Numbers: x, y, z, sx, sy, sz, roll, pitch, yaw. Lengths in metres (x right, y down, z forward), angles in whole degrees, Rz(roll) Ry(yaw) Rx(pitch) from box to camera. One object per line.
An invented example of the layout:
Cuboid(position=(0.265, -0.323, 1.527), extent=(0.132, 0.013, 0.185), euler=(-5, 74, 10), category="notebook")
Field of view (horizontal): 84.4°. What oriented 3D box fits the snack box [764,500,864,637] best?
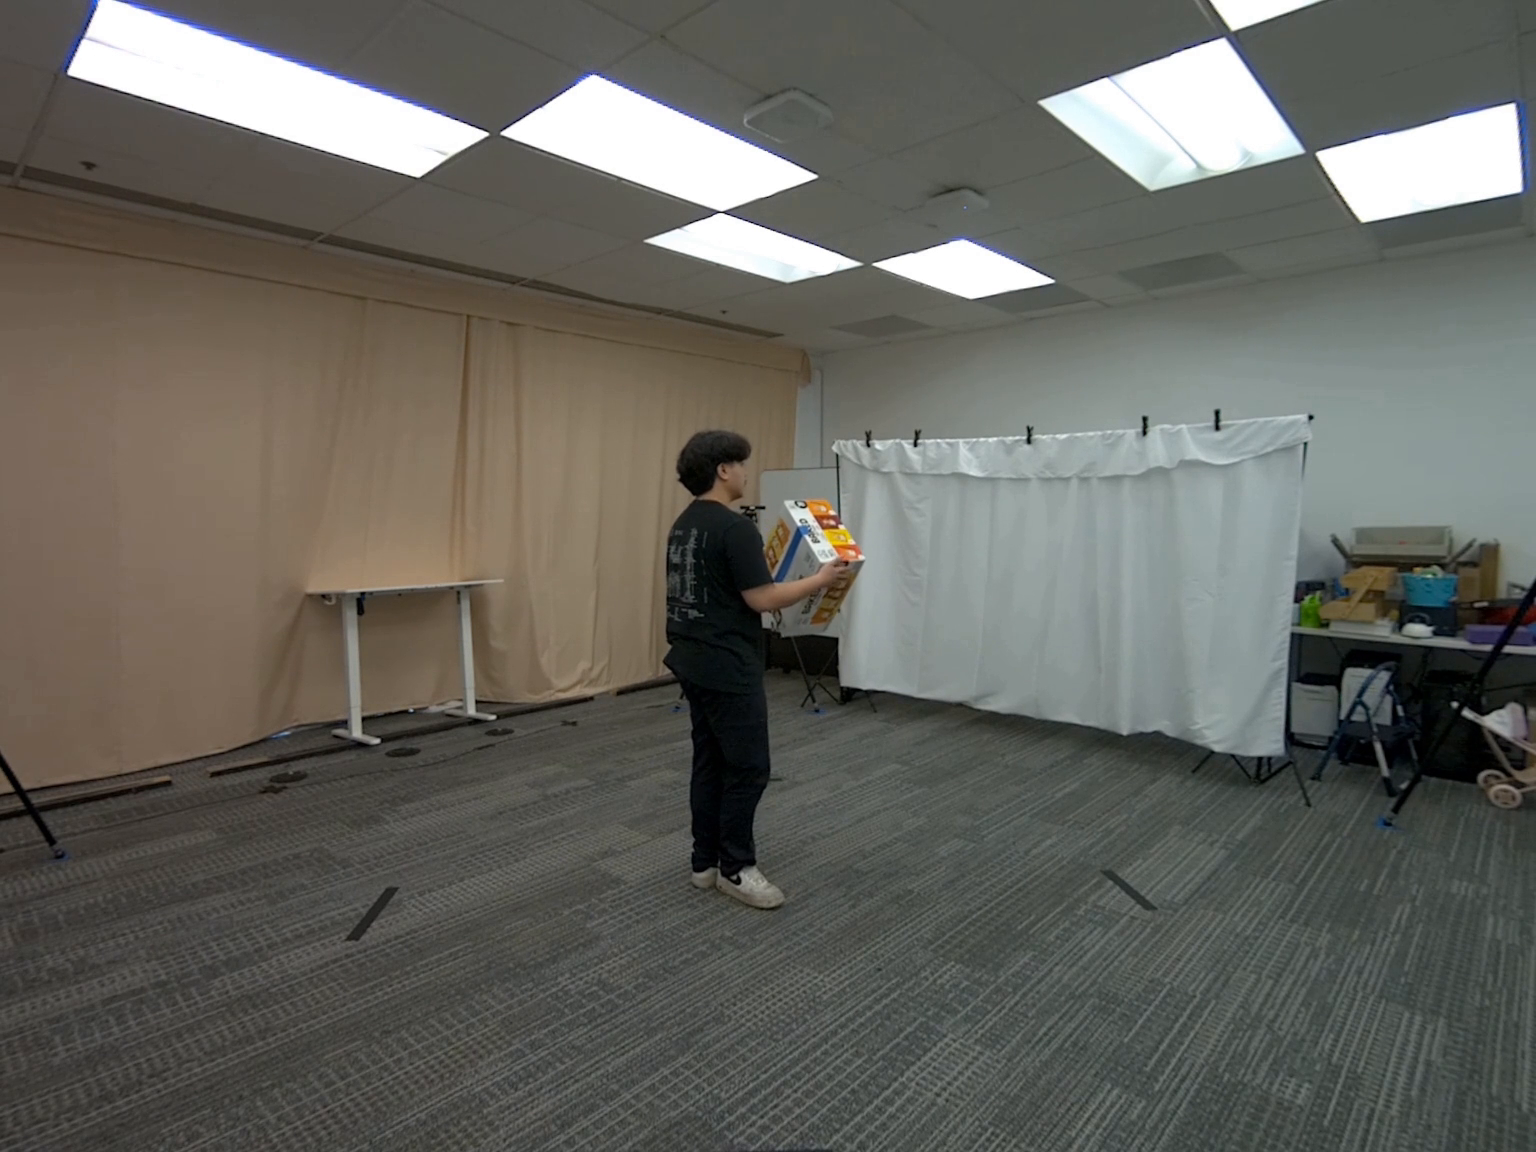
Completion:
Cuboid(position=(0.154, -0.028, 3.306), extent=(0.200, 0.403, 0.351), euler=(-2, 45, -27), category="snack box")
